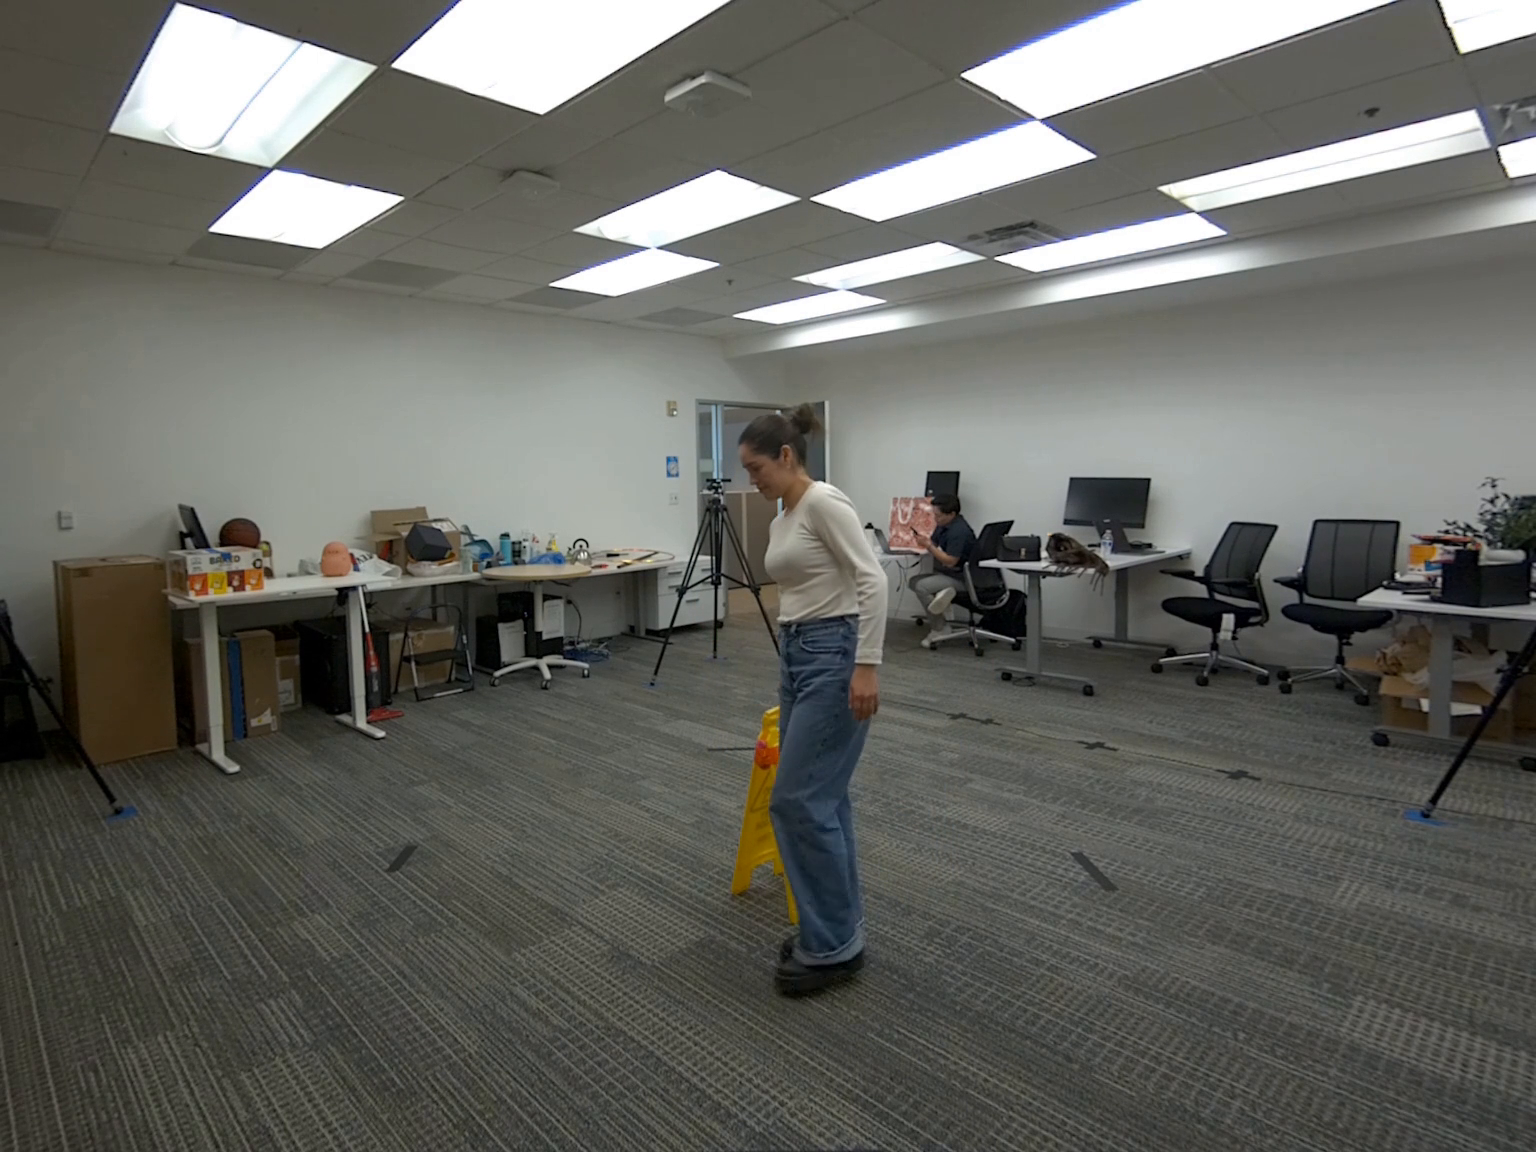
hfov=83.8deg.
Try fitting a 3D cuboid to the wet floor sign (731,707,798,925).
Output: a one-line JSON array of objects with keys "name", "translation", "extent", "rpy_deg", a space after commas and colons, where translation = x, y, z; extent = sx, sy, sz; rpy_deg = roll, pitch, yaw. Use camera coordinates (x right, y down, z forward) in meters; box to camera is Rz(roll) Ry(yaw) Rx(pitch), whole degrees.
[{"name": "wet floor sign", "translation": [0.073, 0.748, 2.845], "extent": [0.275, 0.643, 0.299], "rpy_deg": [-5, 6, -45]}]
